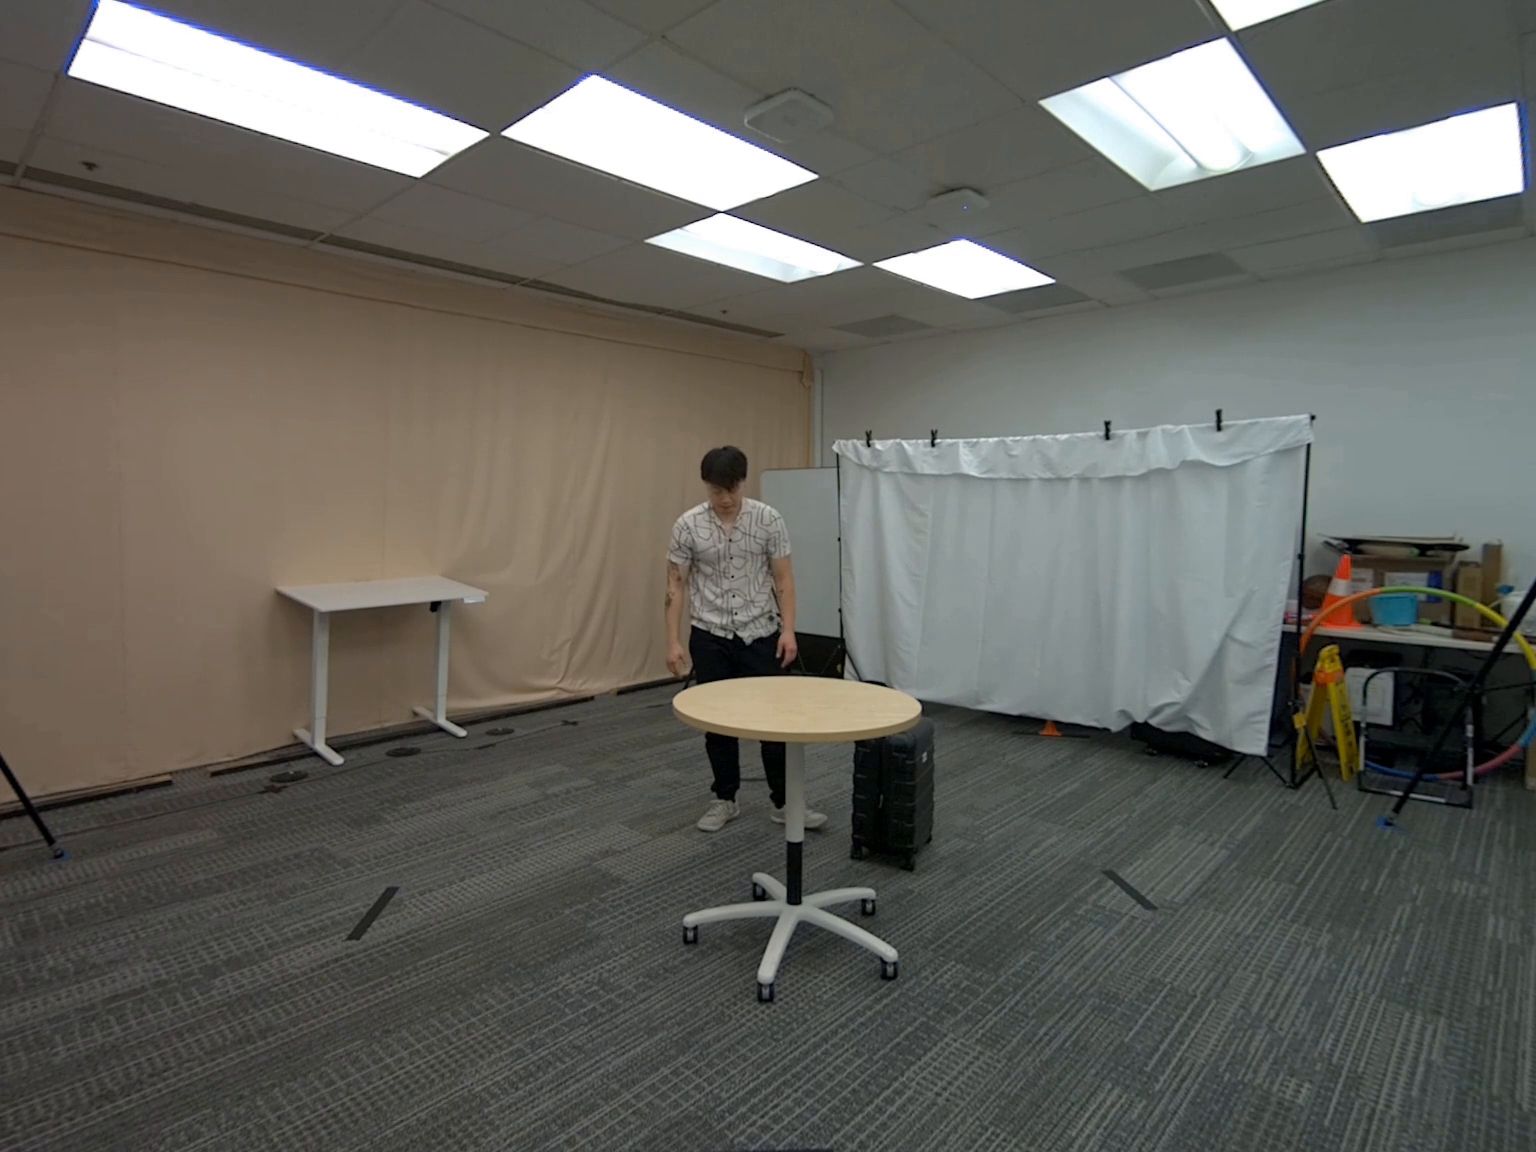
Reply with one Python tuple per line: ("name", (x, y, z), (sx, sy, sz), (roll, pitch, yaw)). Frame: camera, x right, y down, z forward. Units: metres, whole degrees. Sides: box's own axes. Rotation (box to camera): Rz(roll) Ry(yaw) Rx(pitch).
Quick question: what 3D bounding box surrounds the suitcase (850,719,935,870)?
("suitcase", (0.509, 0.836, 3.370), (0.255, 0.548, 0.366), (3, 4, 27))
